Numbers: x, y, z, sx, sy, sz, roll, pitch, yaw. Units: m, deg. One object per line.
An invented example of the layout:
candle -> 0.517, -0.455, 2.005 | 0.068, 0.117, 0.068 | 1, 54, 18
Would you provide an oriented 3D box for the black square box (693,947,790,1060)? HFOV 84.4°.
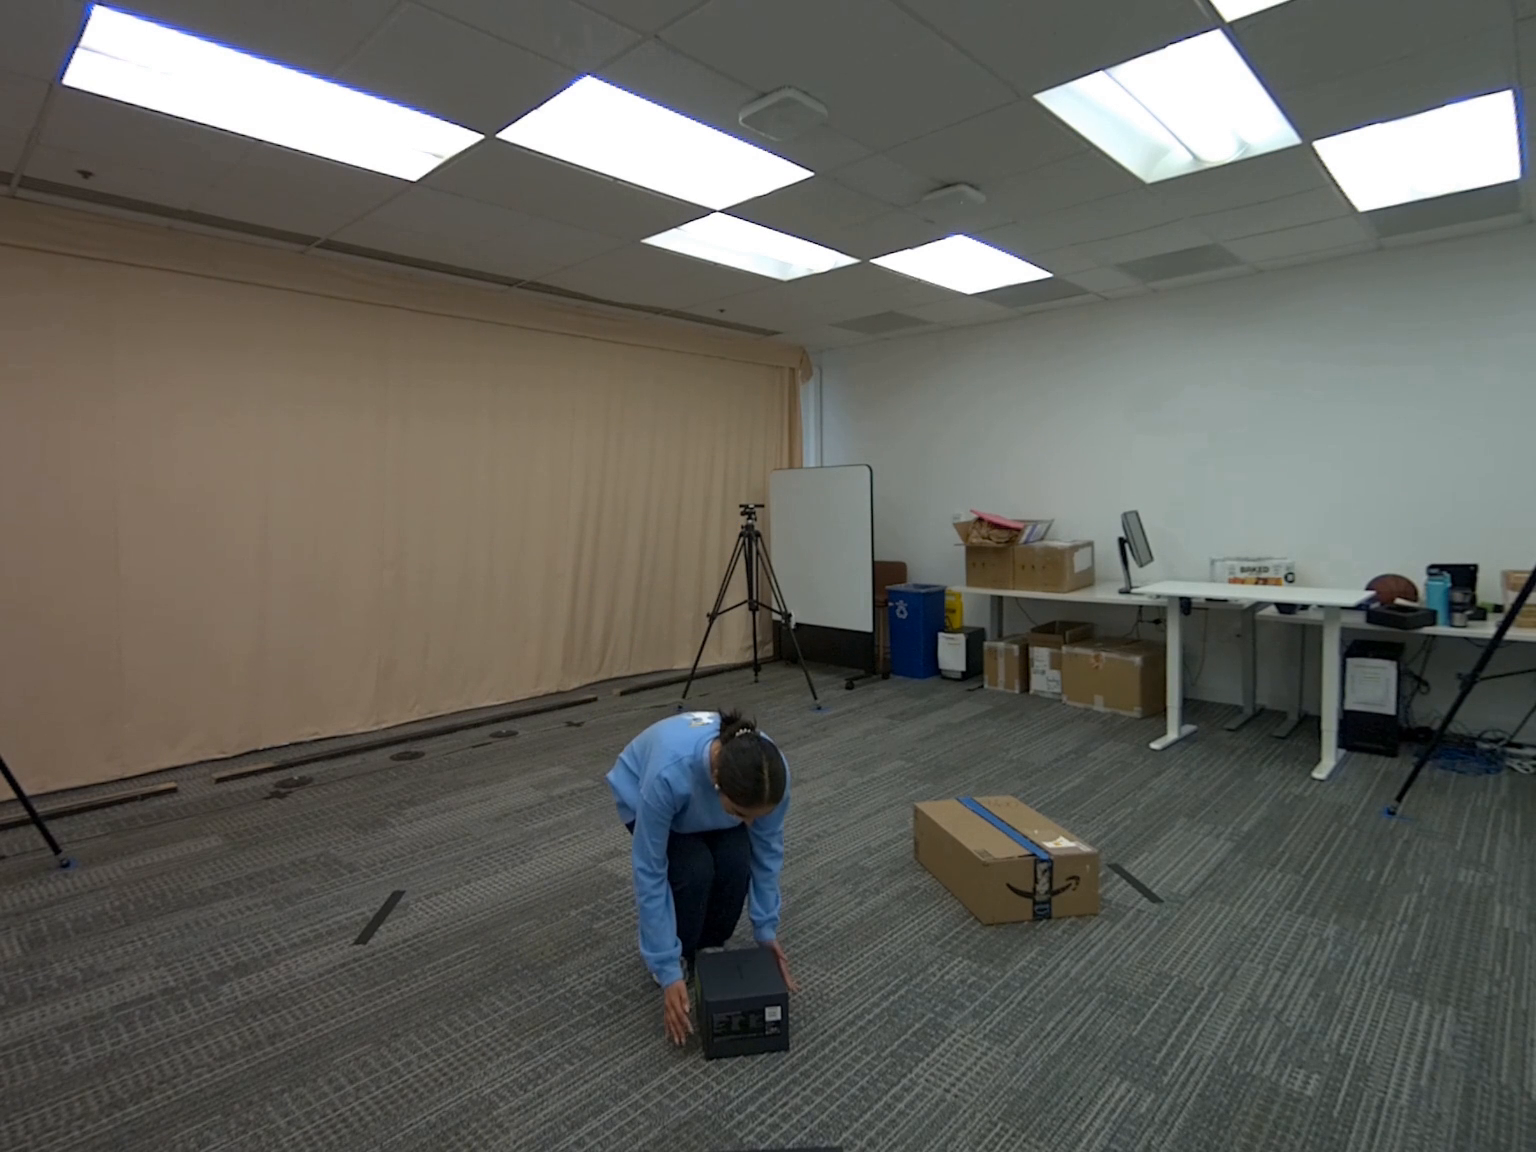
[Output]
black square box -> -0.075, 1.118, 2.236 | 0.214, 0.155, 0.231 | -3, 5, -11
